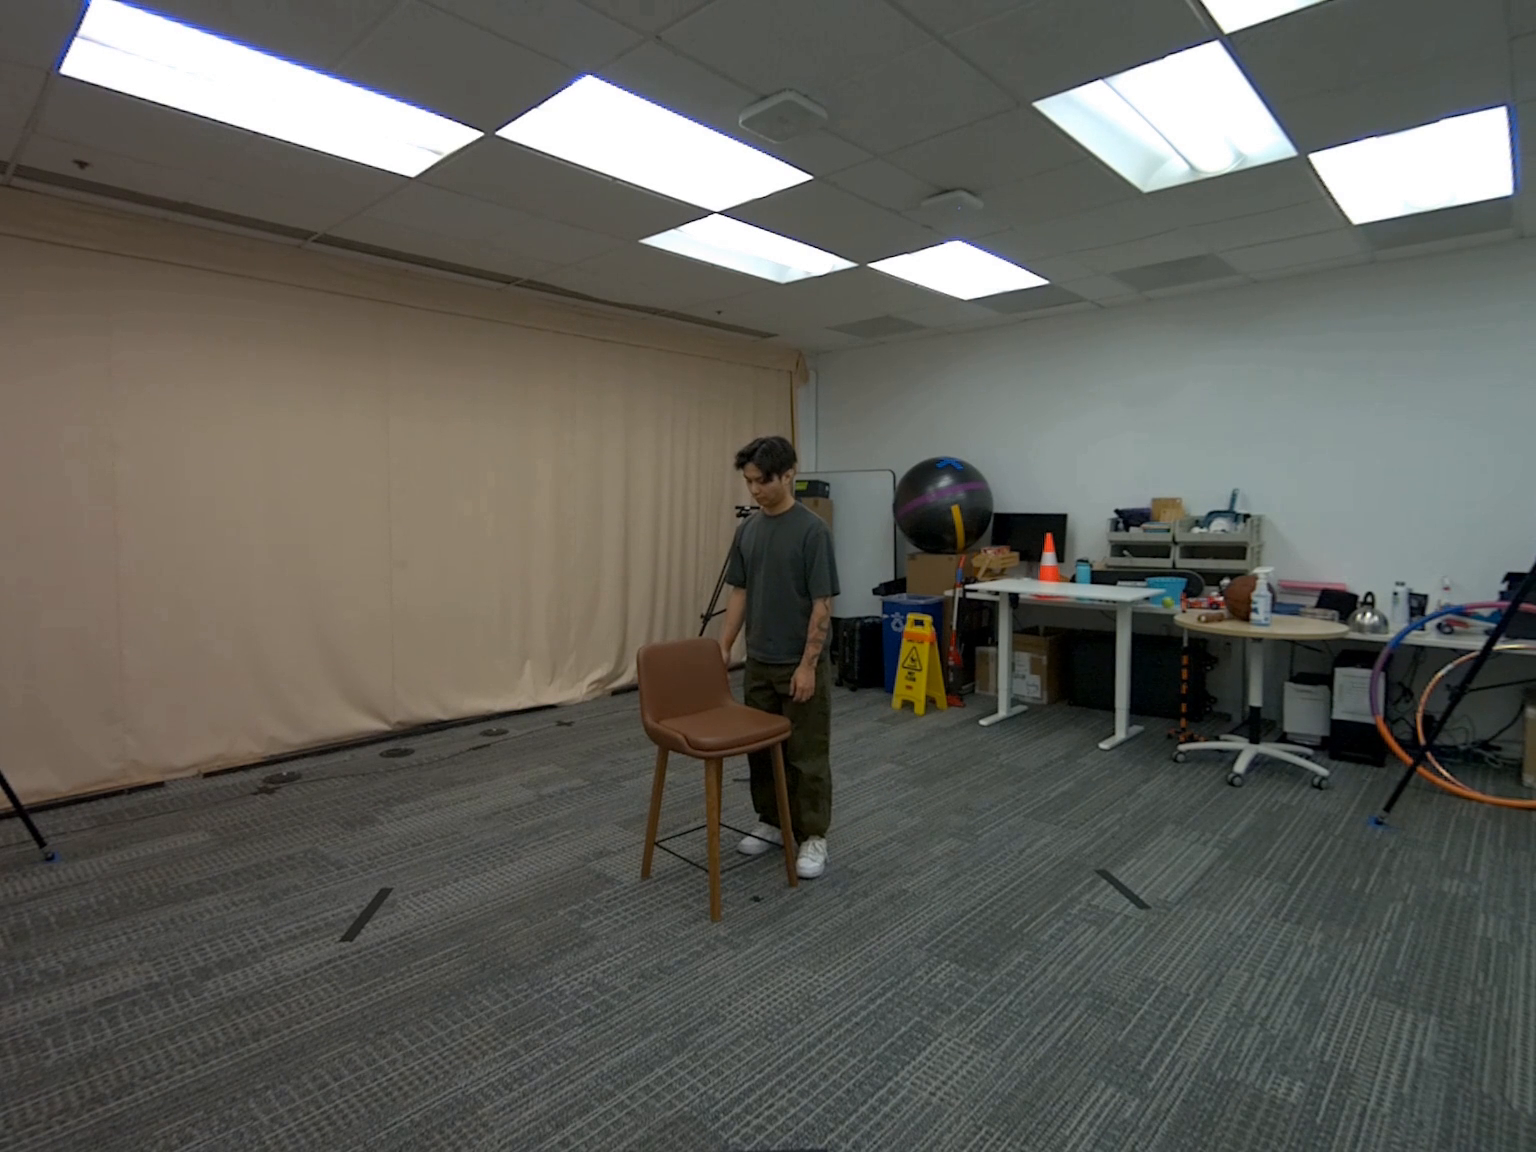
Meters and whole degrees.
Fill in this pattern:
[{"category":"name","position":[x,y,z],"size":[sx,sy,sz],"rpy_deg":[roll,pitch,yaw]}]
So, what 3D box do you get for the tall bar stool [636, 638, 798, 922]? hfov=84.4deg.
[{"category":"tall bar stool","position":[-0.200,0.704,3.090],"size":[0.442,0.889,0.483],"rpy_deg":[-3,3,-43]}]
